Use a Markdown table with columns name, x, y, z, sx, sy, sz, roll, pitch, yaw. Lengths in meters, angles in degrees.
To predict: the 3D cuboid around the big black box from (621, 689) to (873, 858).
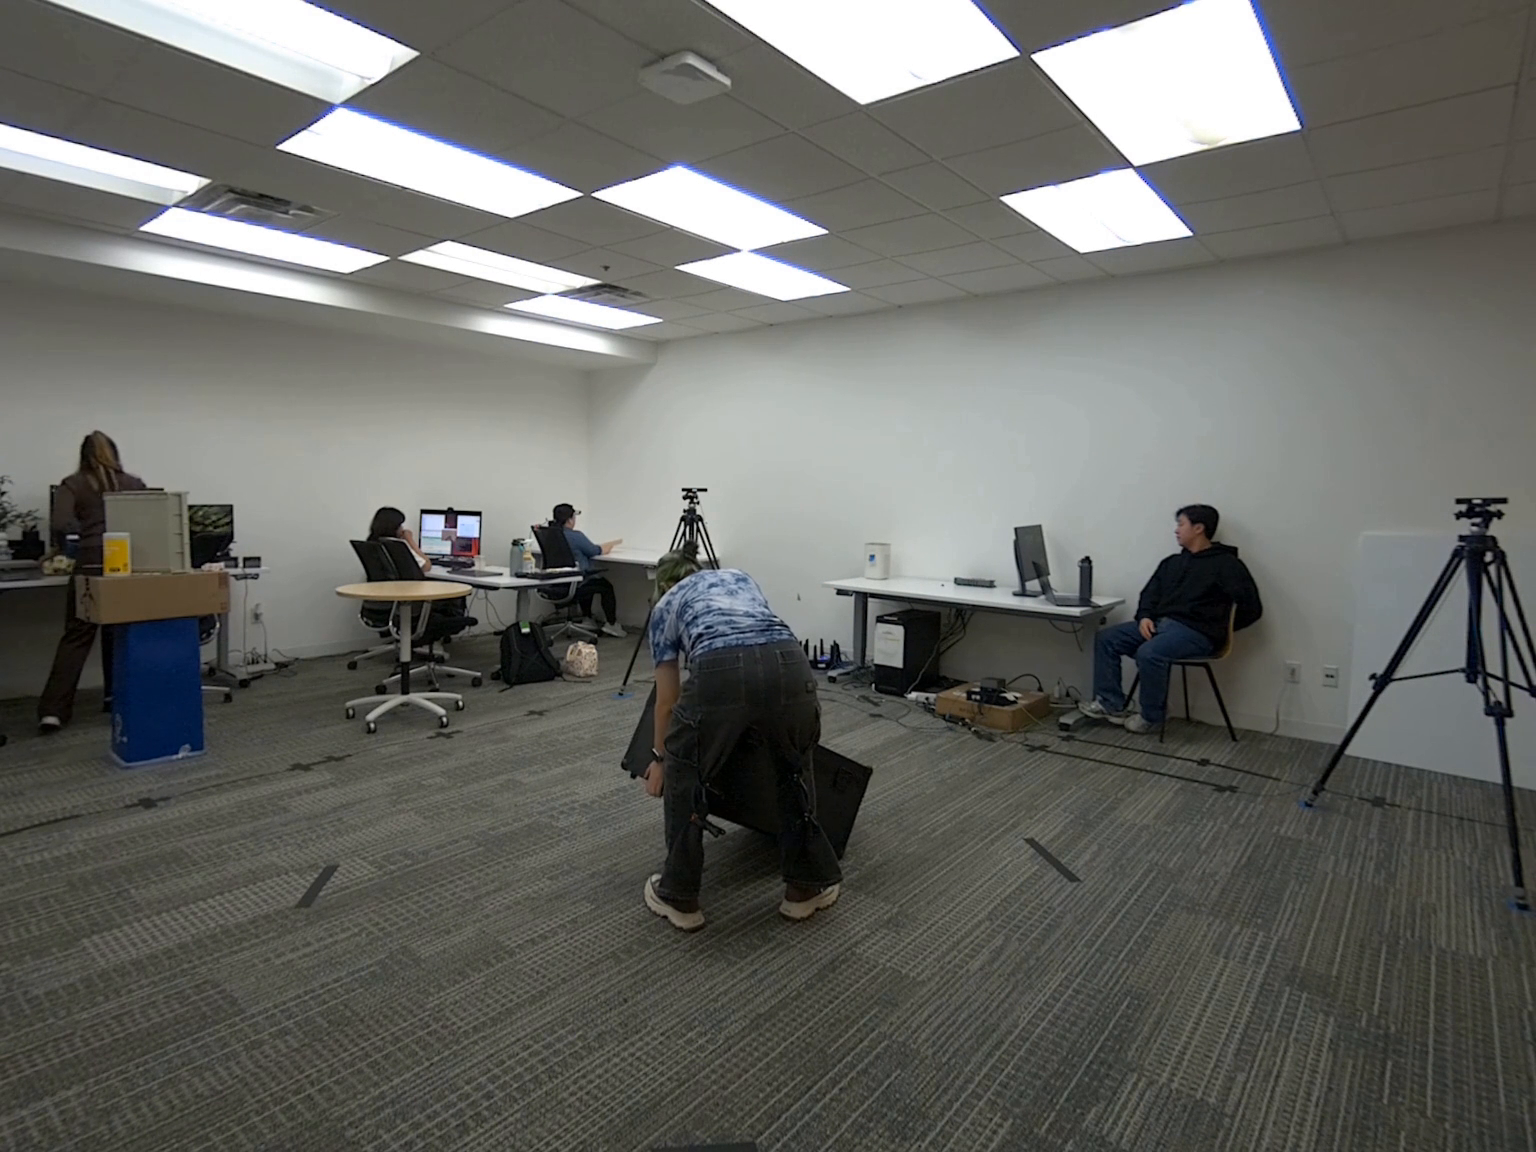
| name | x | y | z | sx | sy | sz | roll | pitch | yaw |
| --- | --- | --- | --- | --- | --- | --- | --- | --- | --- |
| big black box | -0.057 | 0.751 | 3.248 | 0.828 | 0.399 | 0.539 | 30 | -15 | -36 |
